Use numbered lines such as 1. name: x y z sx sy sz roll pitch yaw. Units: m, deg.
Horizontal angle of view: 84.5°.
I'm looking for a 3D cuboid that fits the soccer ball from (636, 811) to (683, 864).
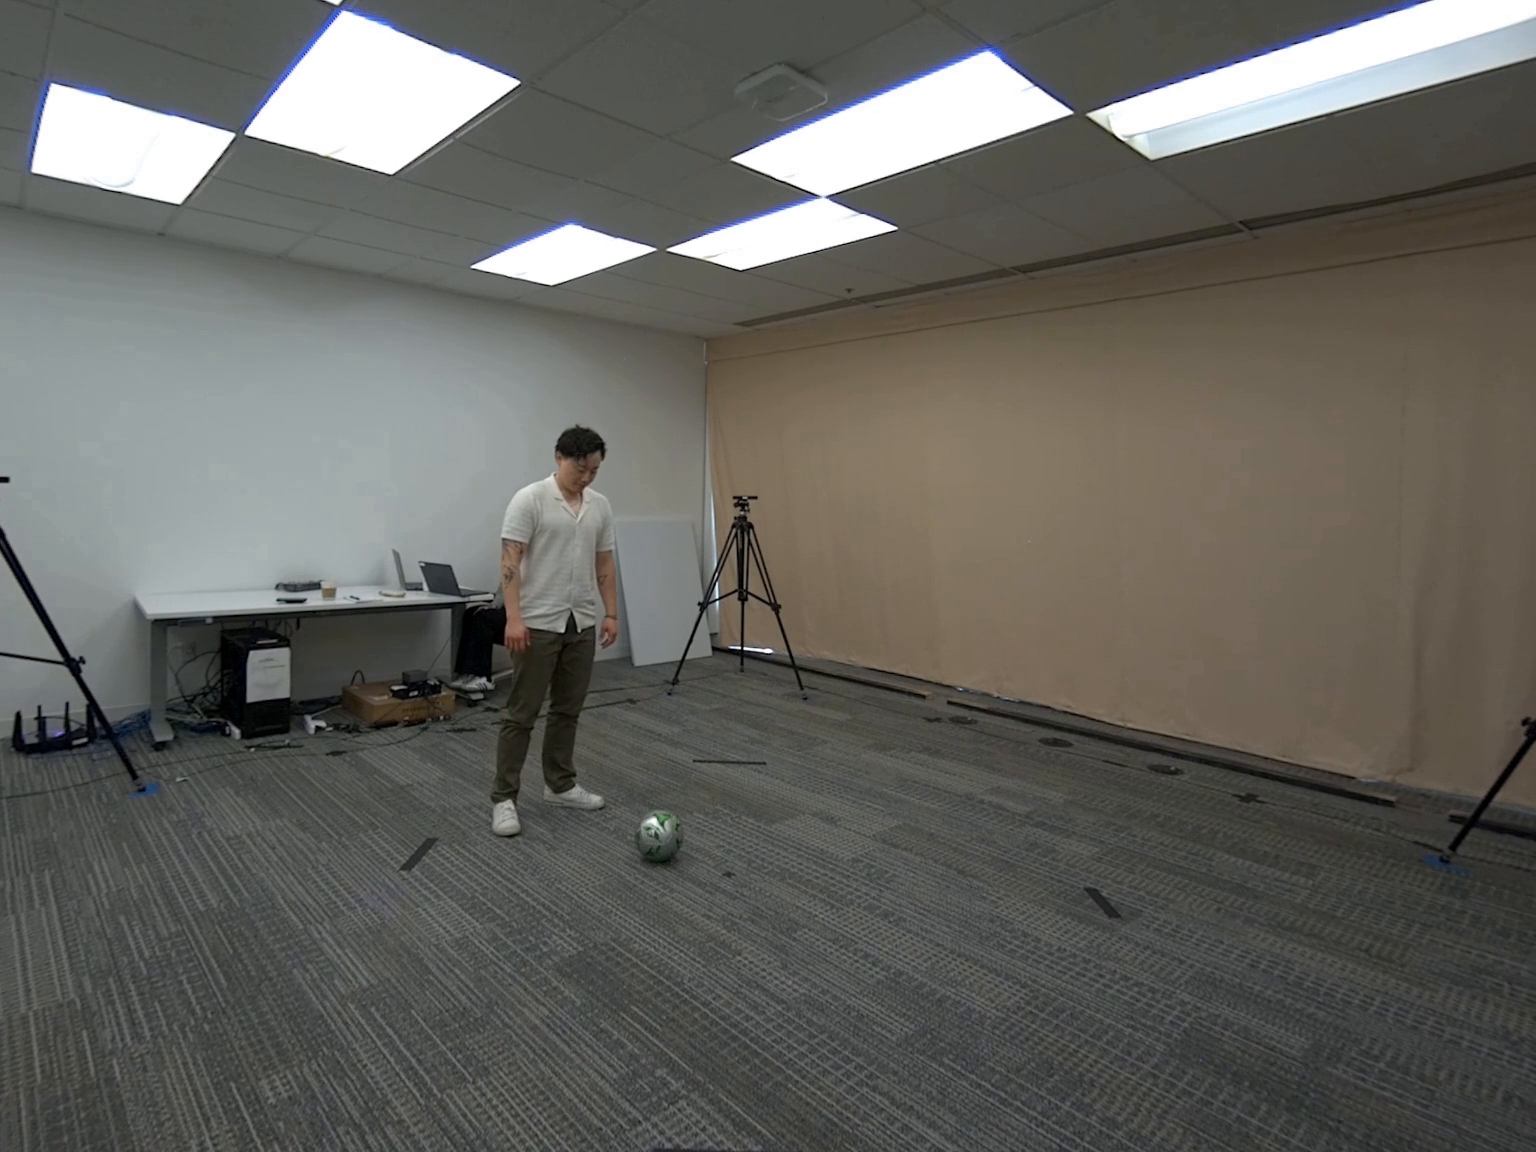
1. soccer ball: -0.426 0.992 3.214 0.187 0.187 0.188 1 4 -1
